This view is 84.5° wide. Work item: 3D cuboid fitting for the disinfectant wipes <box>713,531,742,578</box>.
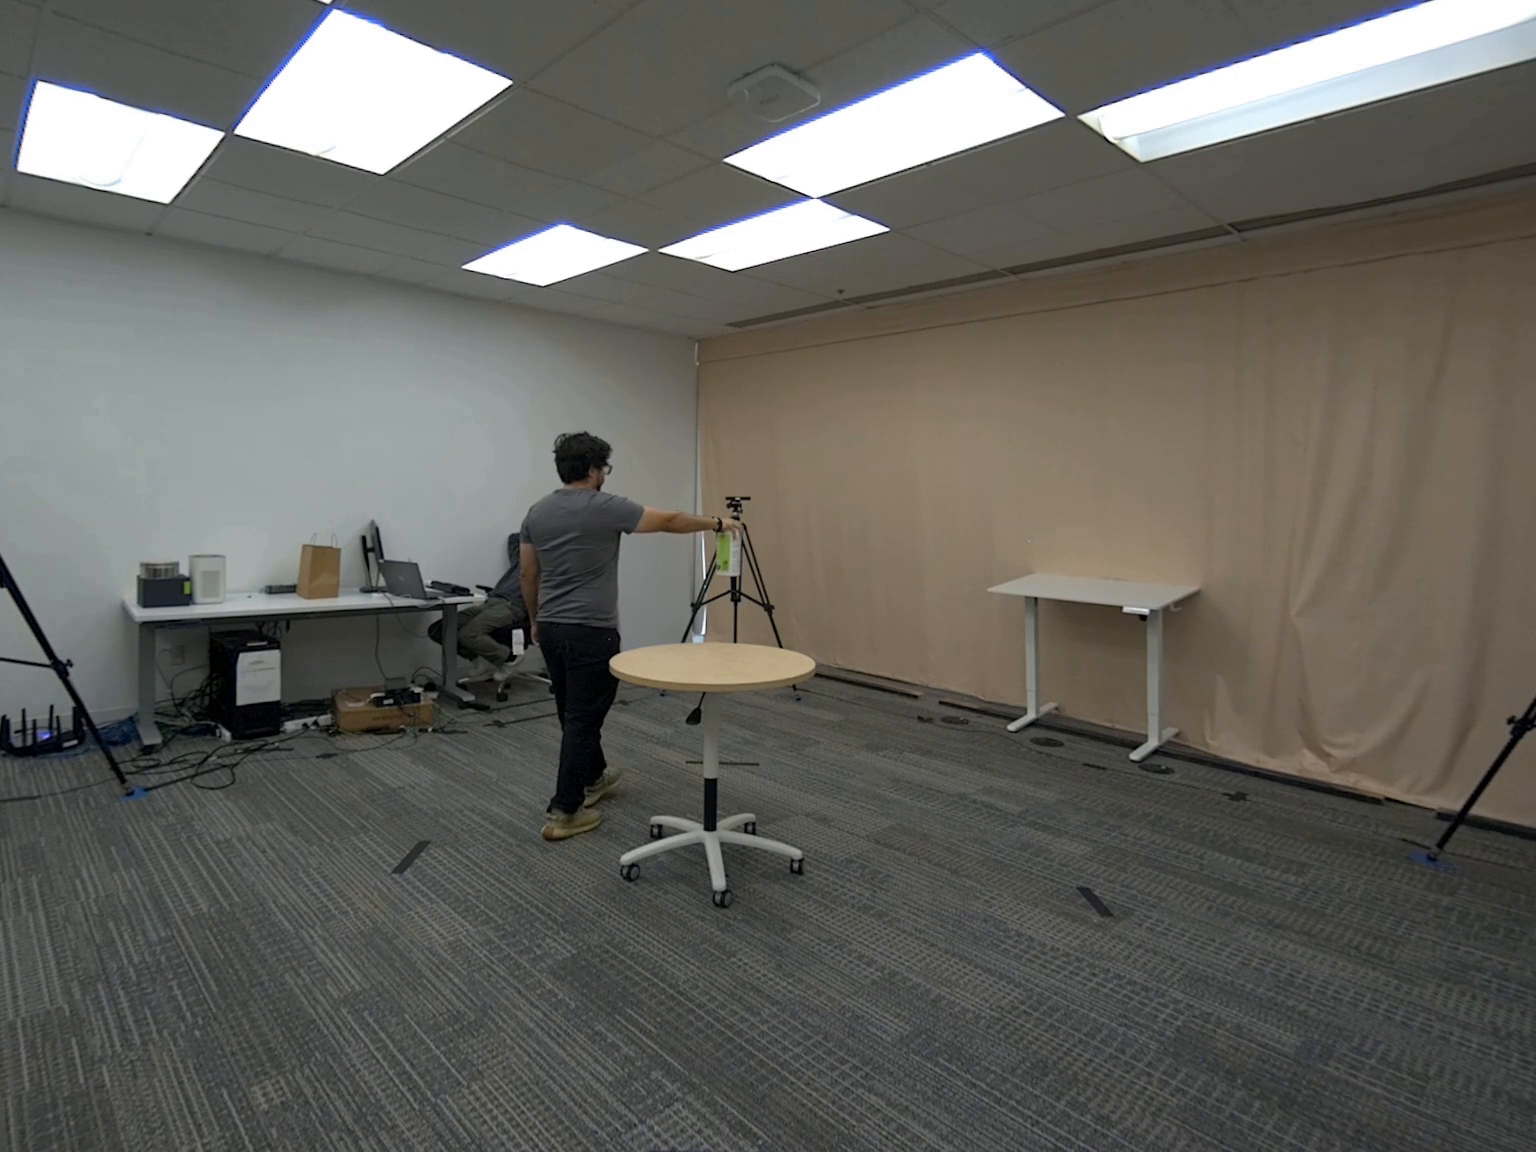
[{"bbox_3d":[-0.189,-0.111,3.779,0.118,0.217,0.118,0,2,-1],"label":"disinfectant wipes"}]
